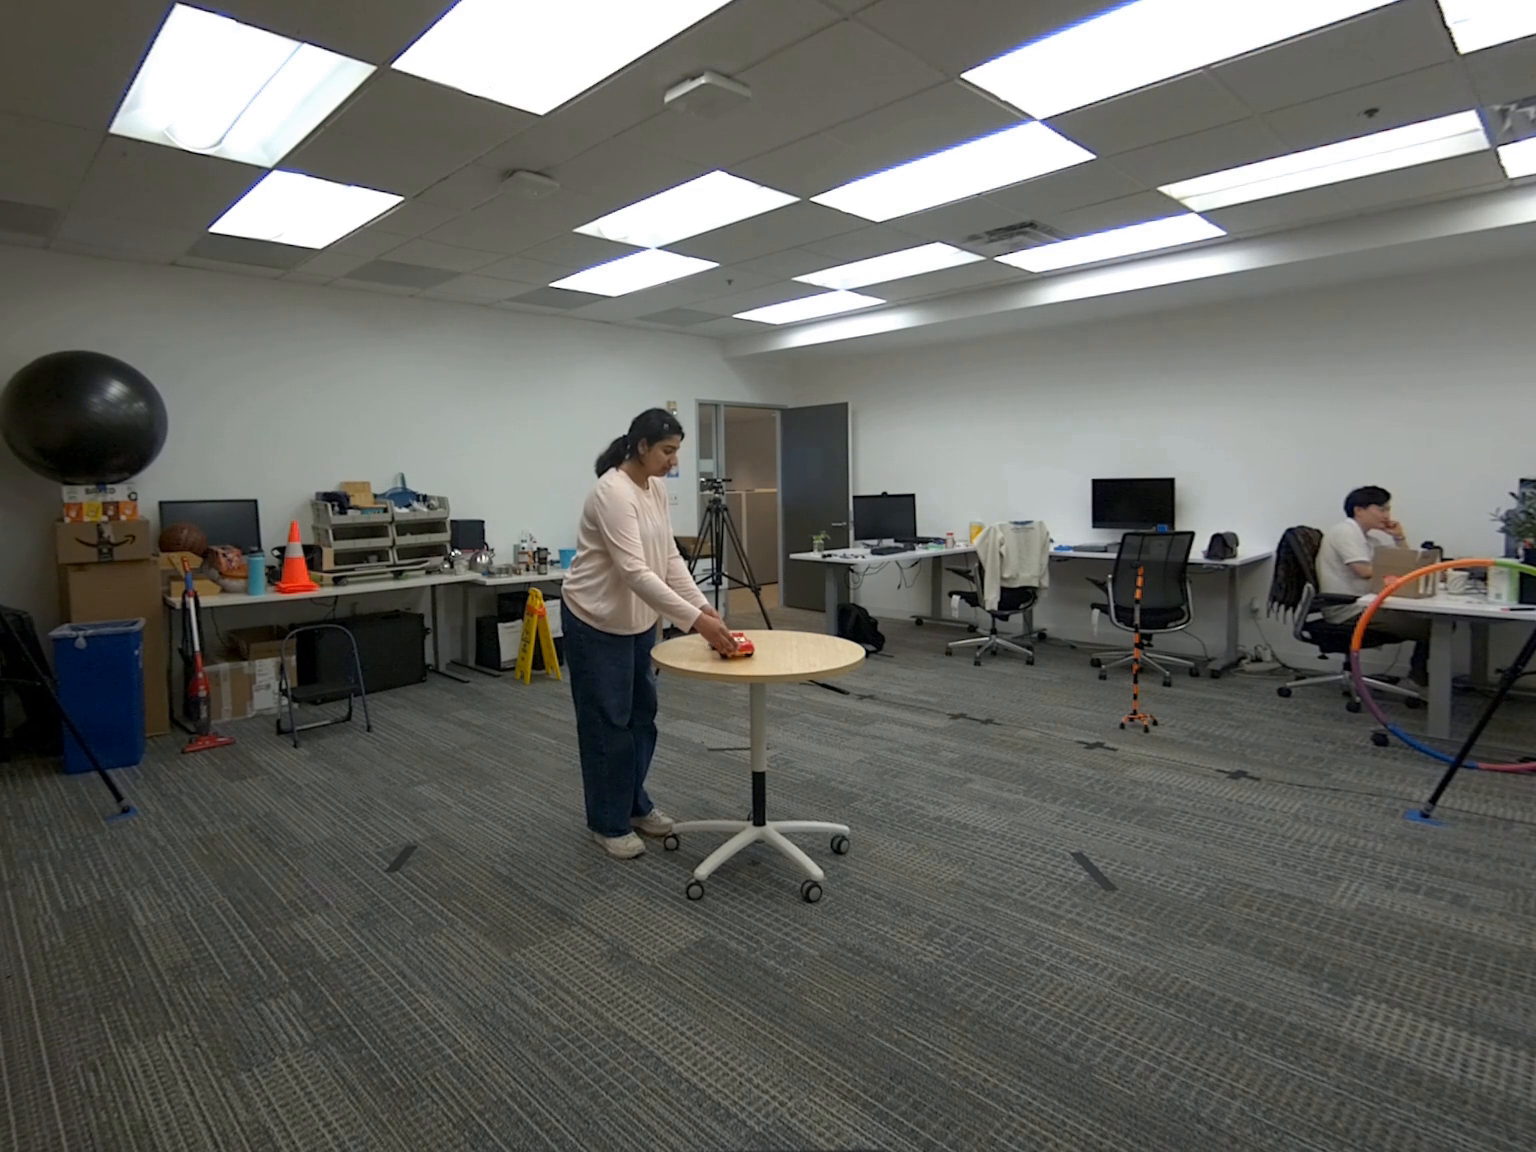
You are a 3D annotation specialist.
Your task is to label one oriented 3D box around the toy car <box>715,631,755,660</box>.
[{"bbox_3d":[-0.119,0.241,2.999,0.128,0.083,0.257,-3,-4,-16],"label":"toy car"}]
